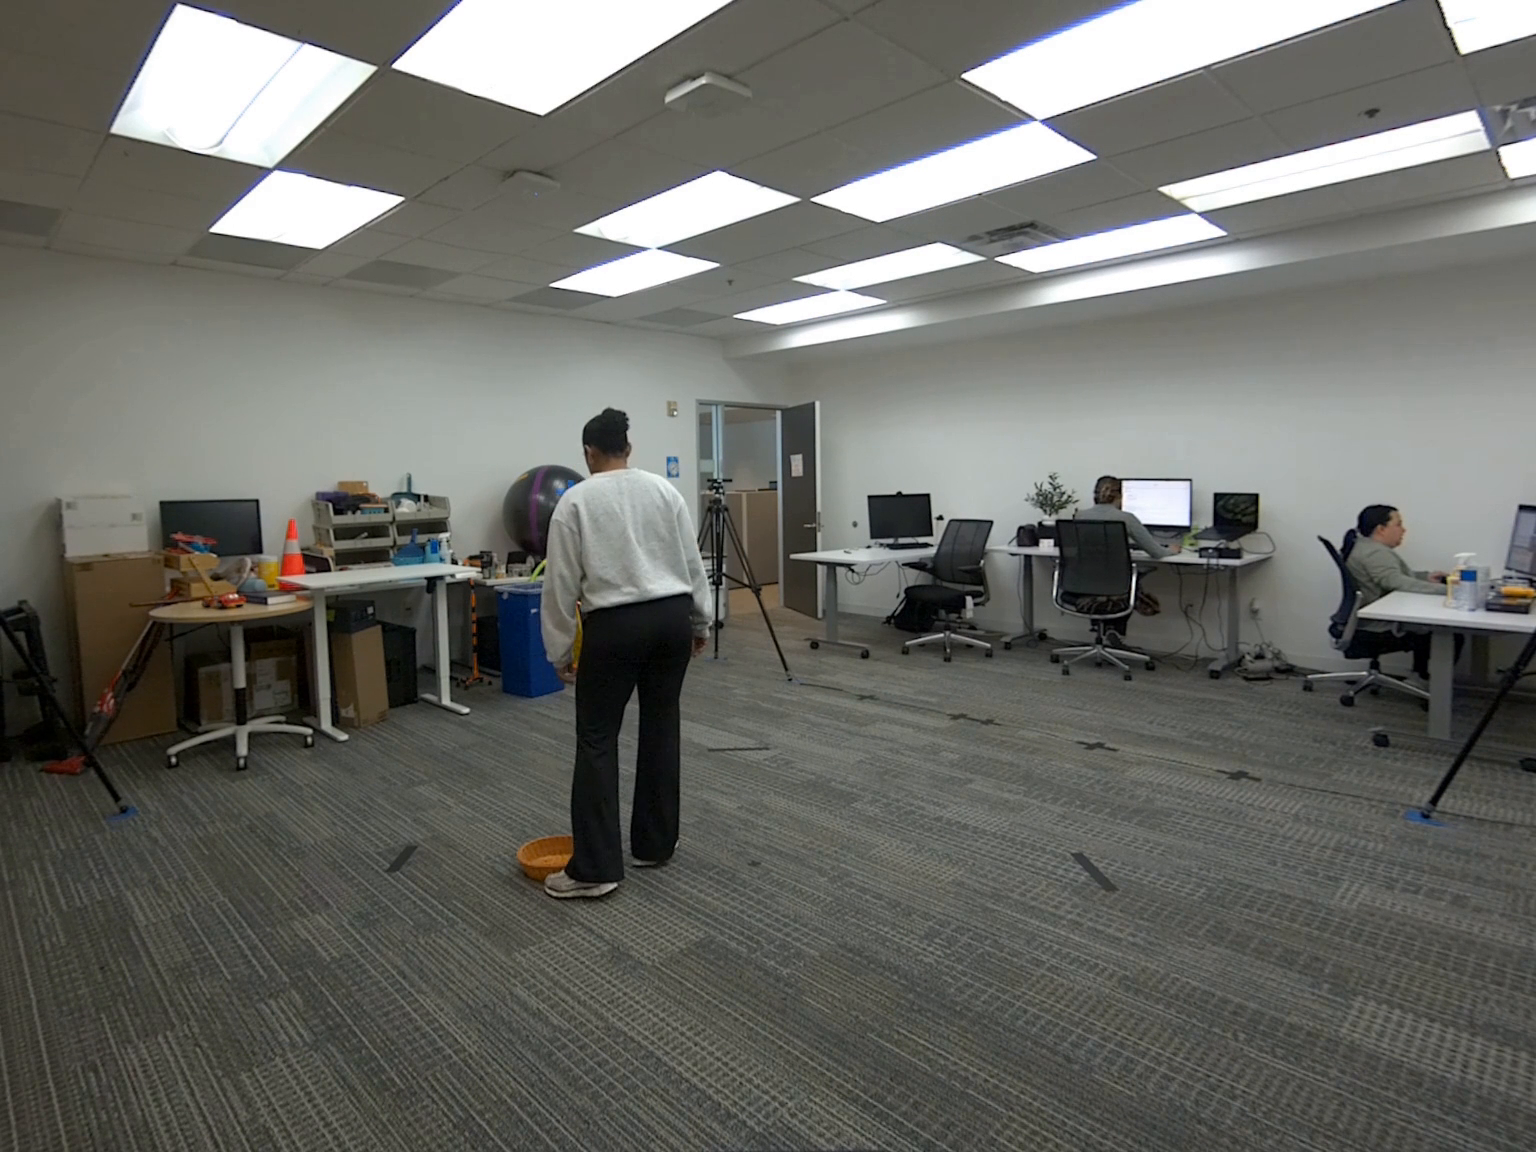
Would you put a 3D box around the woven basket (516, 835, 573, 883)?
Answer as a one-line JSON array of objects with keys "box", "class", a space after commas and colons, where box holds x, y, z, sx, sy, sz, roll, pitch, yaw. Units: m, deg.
[{"box": [-0.729, 1.018, 3.109, 0.352, 0.073, 0.252, 0, 6, 5], "class": "woven basket"}]
